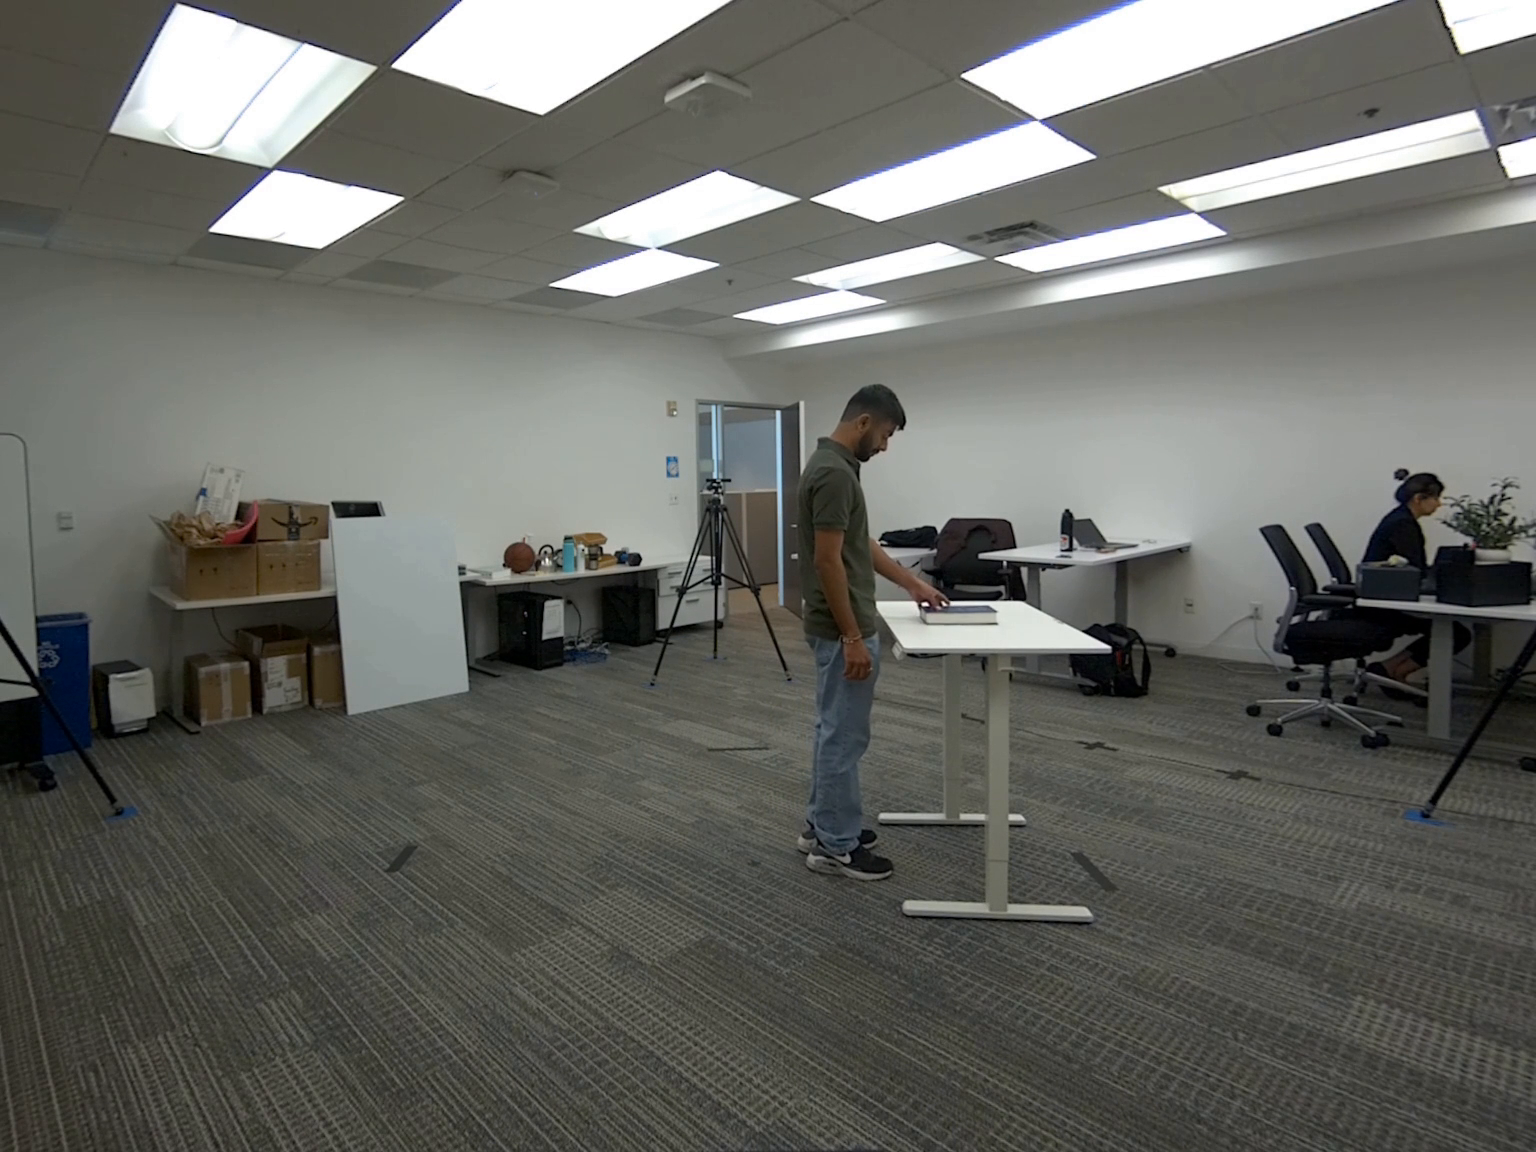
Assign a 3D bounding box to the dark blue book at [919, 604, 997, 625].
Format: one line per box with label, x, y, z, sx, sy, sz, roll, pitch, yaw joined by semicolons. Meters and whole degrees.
dark blue book;0.666;0.138;3.025;0.246;0.045;0.163;-1;6;6
